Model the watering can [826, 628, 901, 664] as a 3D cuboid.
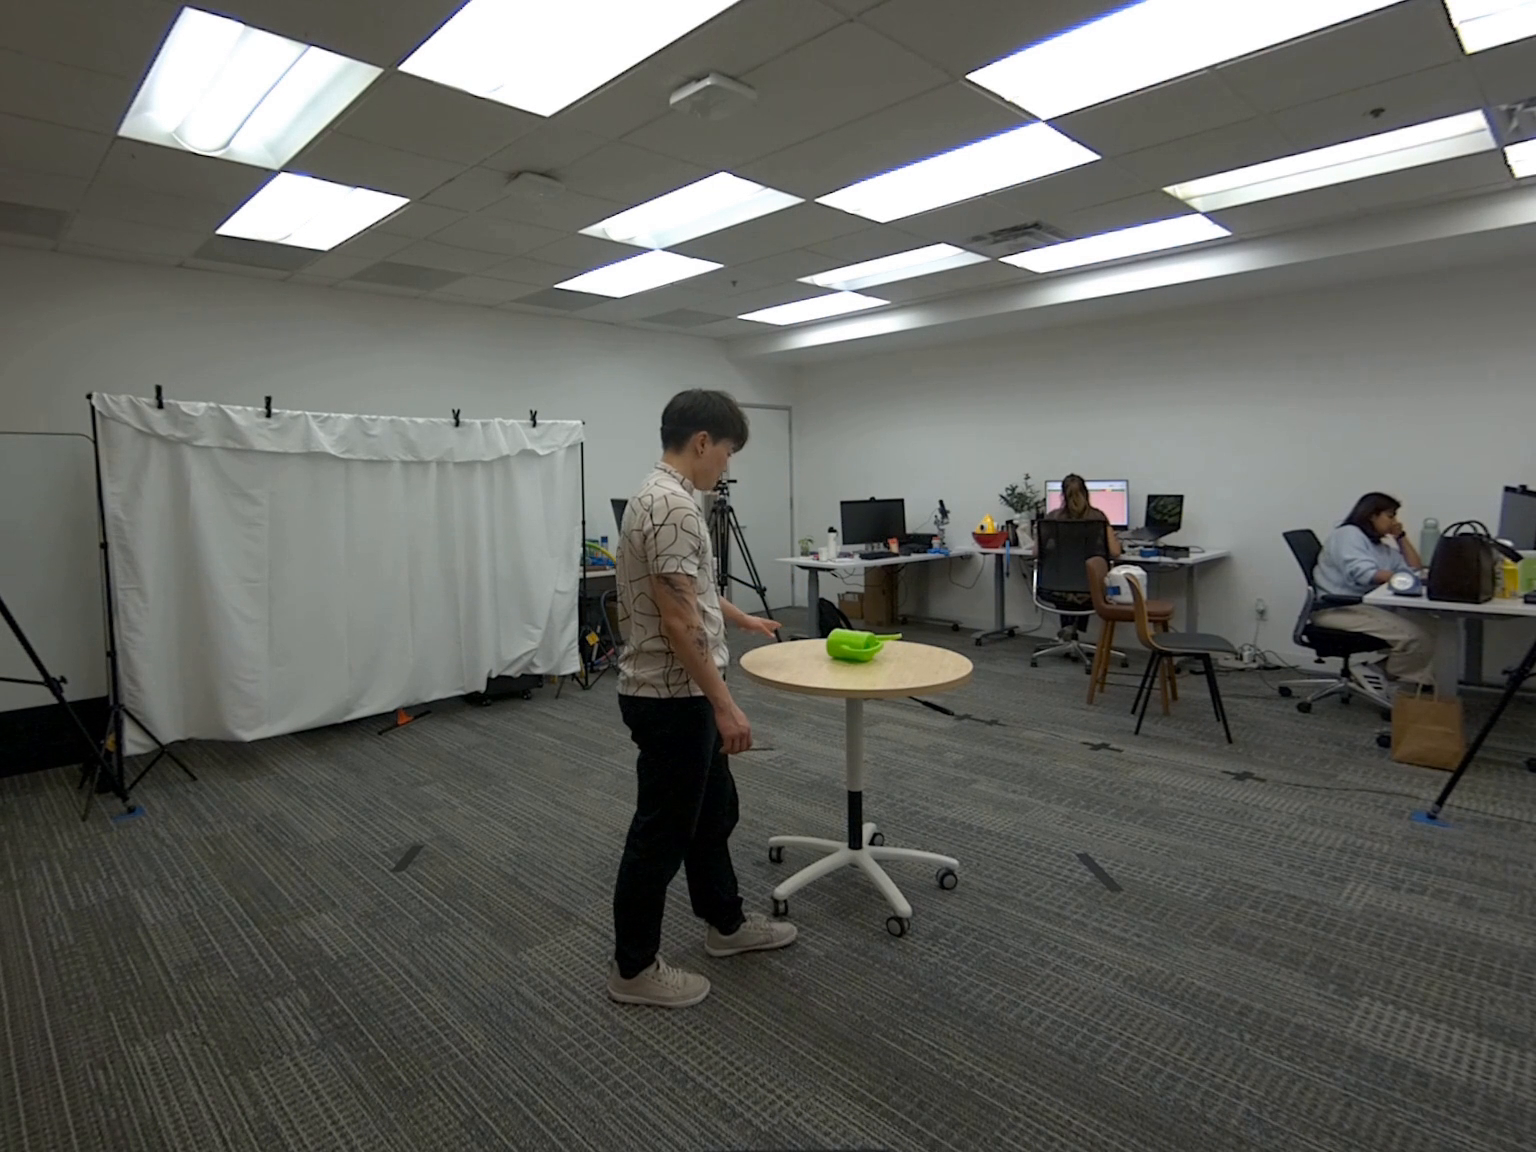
[{"bbox_3d":[0.327,0.237,2.915,0.182,0.098,0.270,4,-2,32],"label":"watering can"}]
